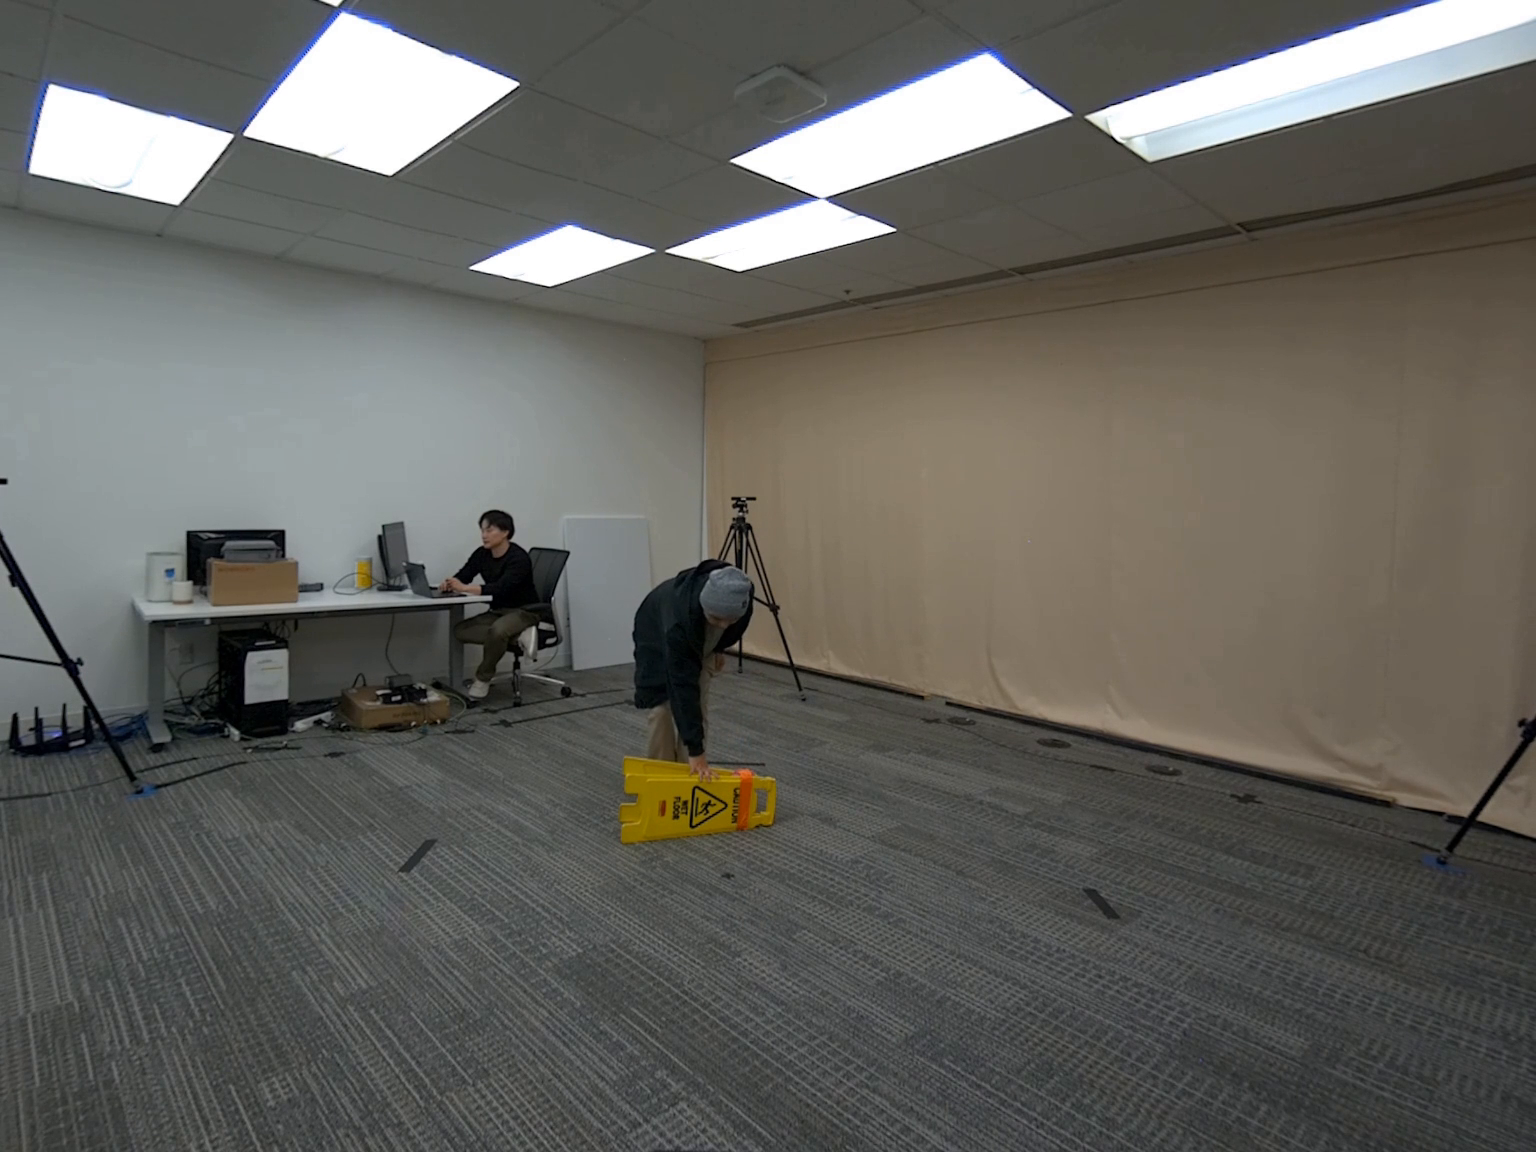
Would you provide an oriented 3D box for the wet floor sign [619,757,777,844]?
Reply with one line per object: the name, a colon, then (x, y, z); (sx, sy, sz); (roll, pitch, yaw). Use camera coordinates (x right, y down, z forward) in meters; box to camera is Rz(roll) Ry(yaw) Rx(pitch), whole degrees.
wet floor sign: (-0.299, 0.939, 3.549); (0.640, 0.282, 0.293); (4, 3, -10)
